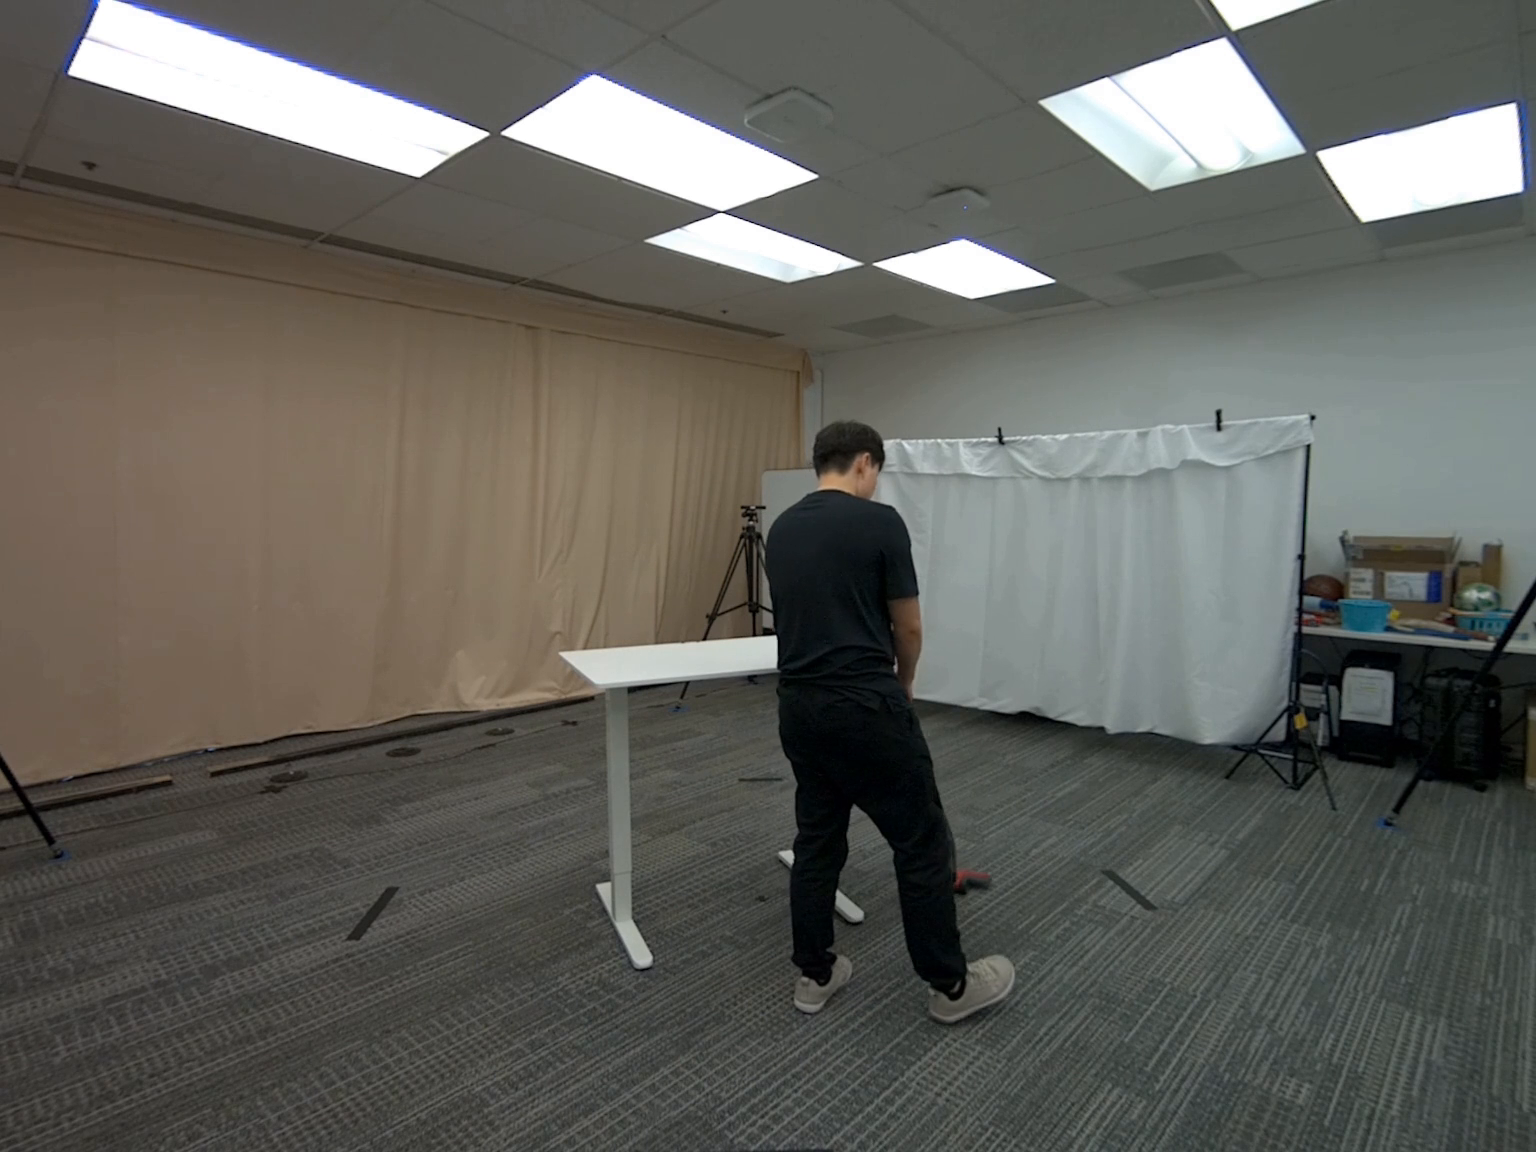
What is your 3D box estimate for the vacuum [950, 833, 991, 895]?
[{"bbox_3d":[0.540,0.744,2.805,0.259,1.021,0.144,1,41,25],"label":"vacuum"}]
